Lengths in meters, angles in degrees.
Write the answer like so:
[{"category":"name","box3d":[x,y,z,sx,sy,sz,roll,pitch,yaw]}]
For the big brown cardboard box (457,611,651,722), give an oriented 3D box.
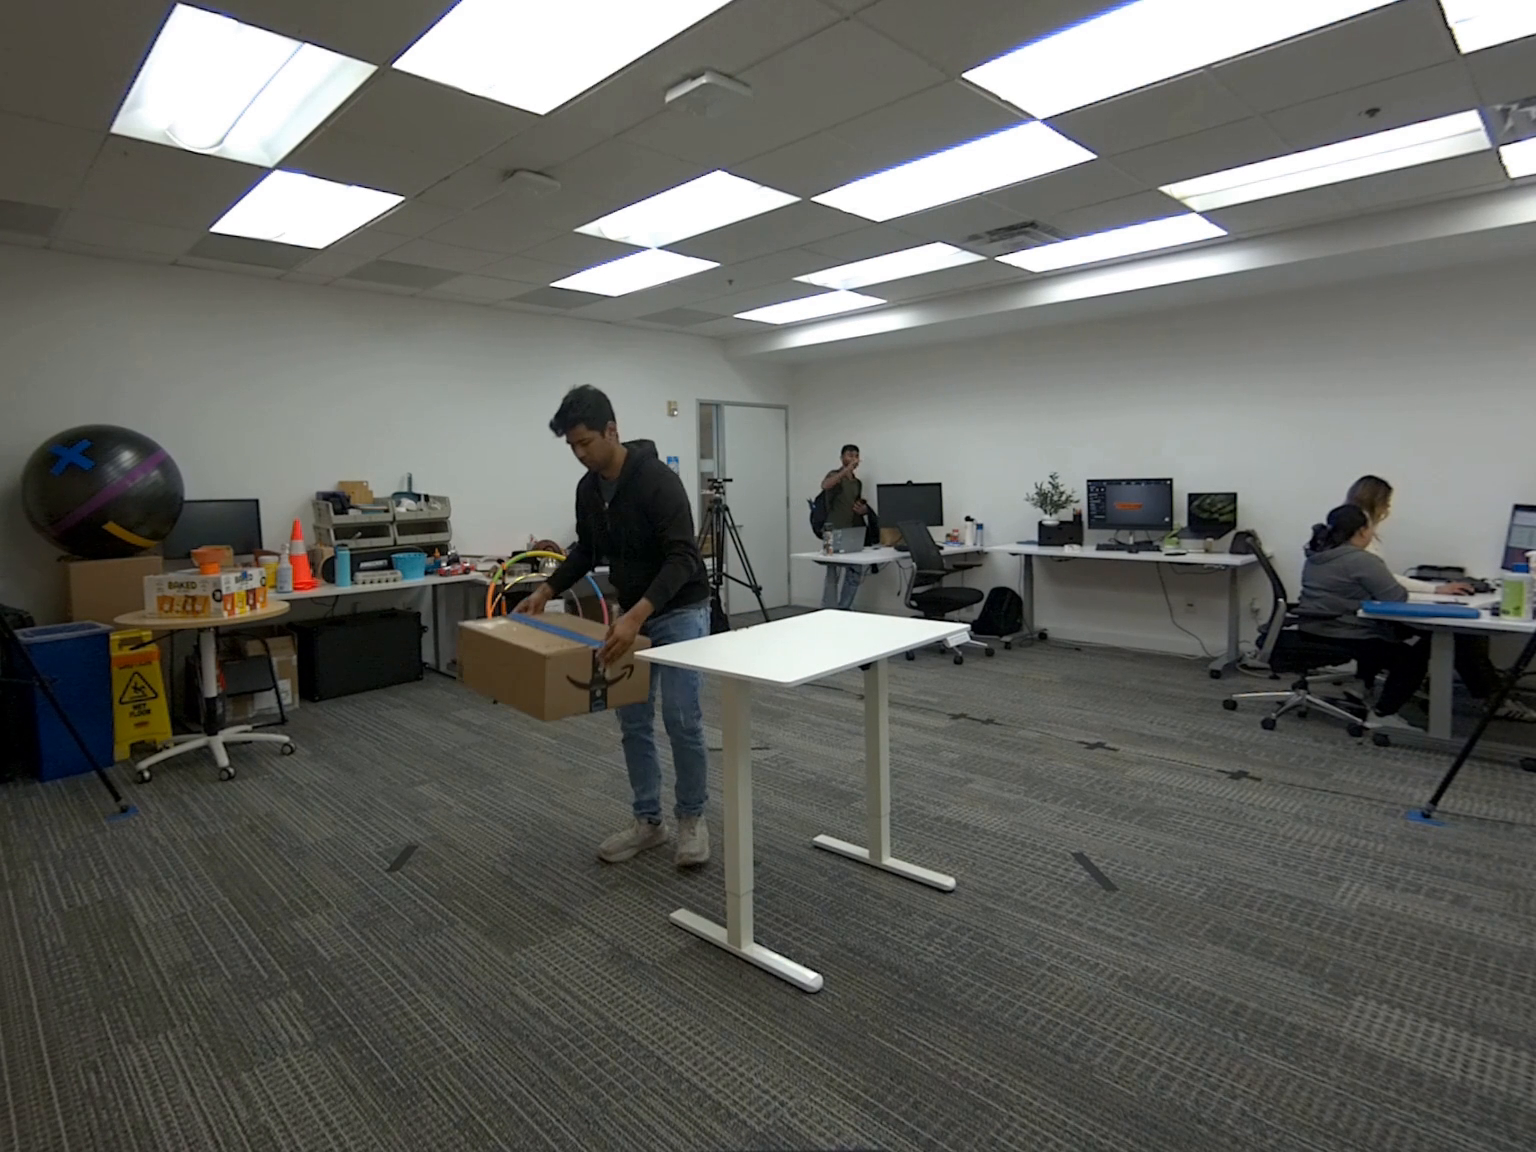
[{"category":"big brown cardboard box","box3d":[-0.740,0.297,2.951,0.609,0.232,0.406,10,10,43]}]
